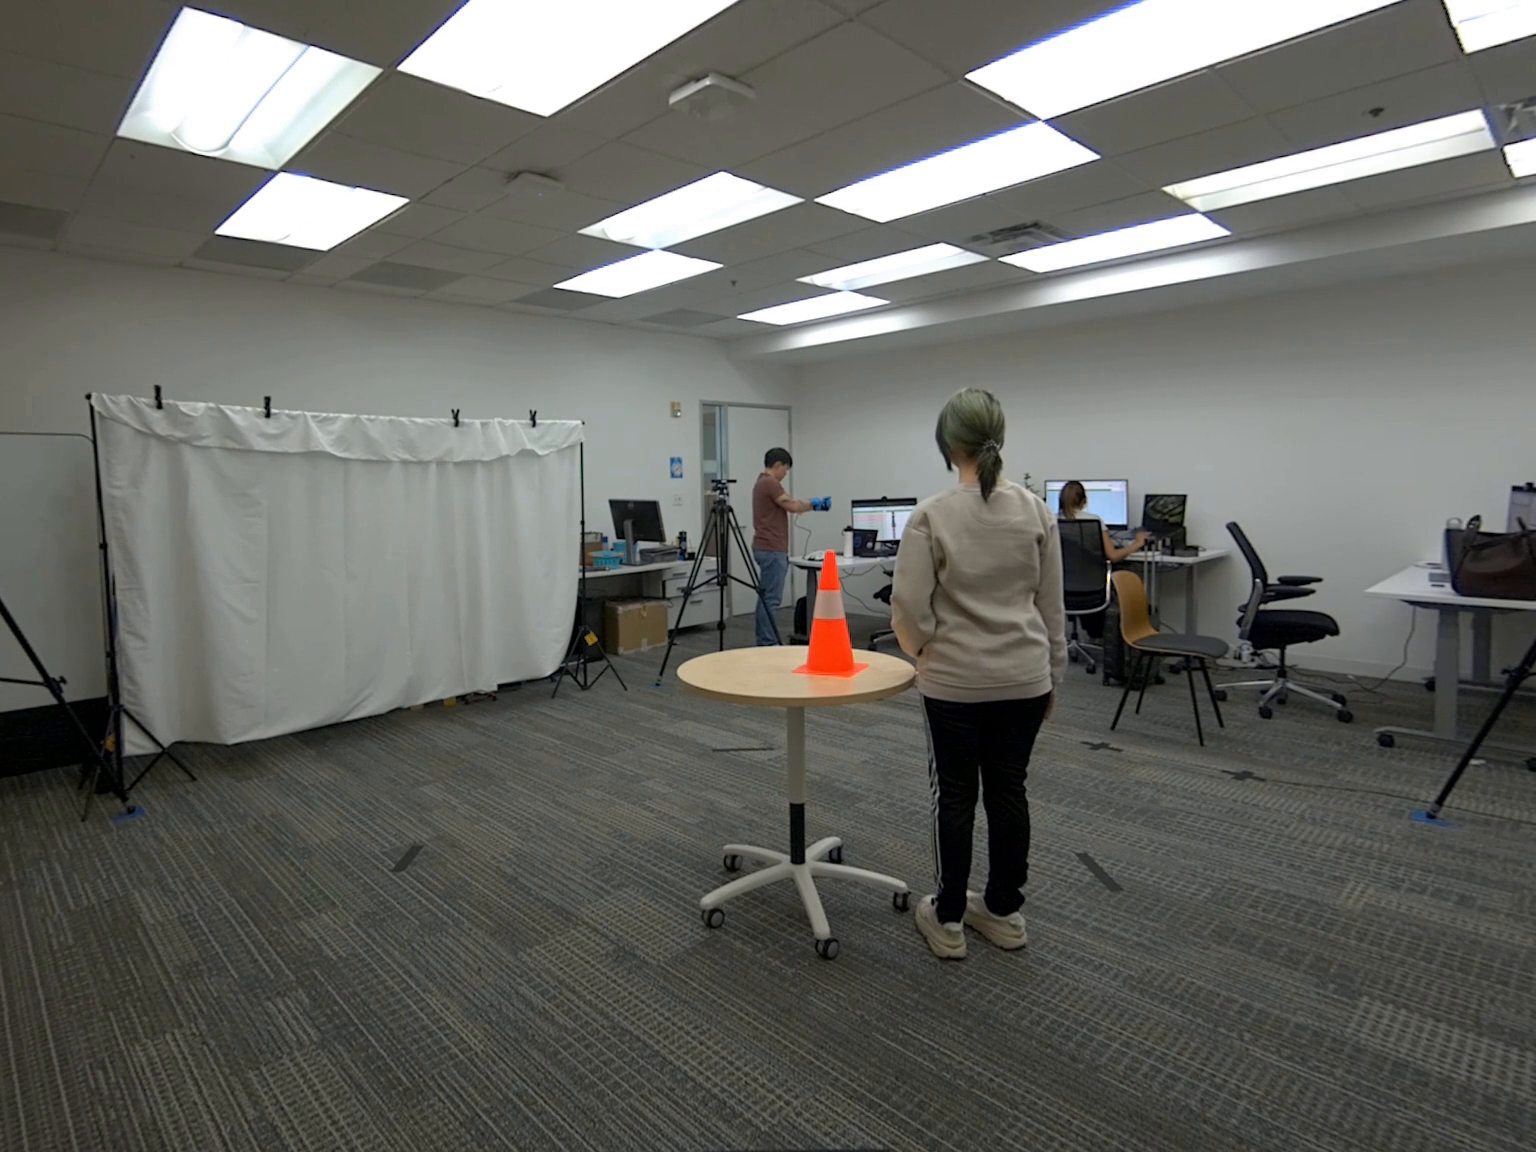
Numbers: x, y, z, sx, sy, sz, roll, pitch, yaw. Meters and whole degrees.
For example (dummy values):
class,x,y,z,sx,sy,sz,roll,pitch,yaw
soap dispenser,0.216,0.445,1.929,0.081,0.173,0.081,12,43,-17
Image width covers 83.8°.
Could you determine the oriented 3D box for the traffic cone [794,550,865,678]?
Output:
class,x,y,z,sx,sy,sz,roll,pitch,yaw
traffic cone,0.206,0.111,2.743,0.199,0.382,0.209,-2,5,-38
